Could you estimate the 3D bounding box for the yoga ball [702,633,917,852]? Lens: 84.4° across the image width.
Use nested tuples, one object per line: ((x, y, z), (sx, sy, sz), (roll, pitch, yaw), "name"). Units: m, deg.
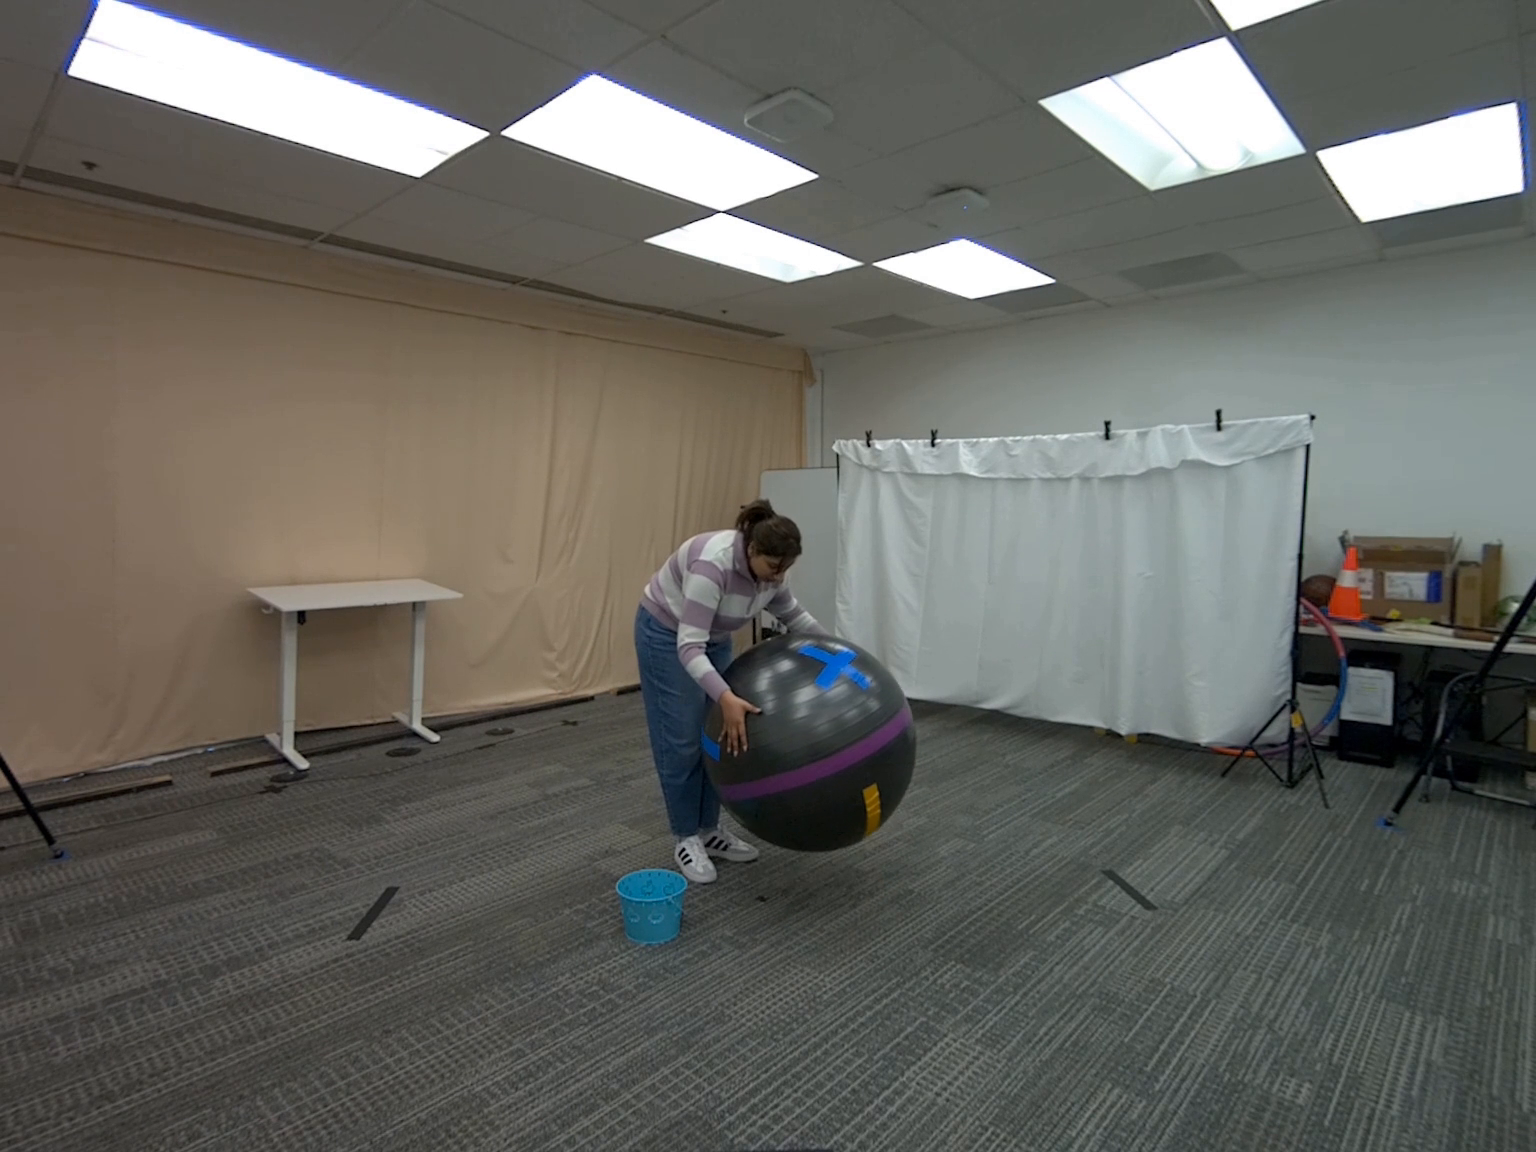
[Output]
((0.145, 0.590, 2.990), (0.757, 0.756, 0.760), (0, 4, -2), "yoga ball")
